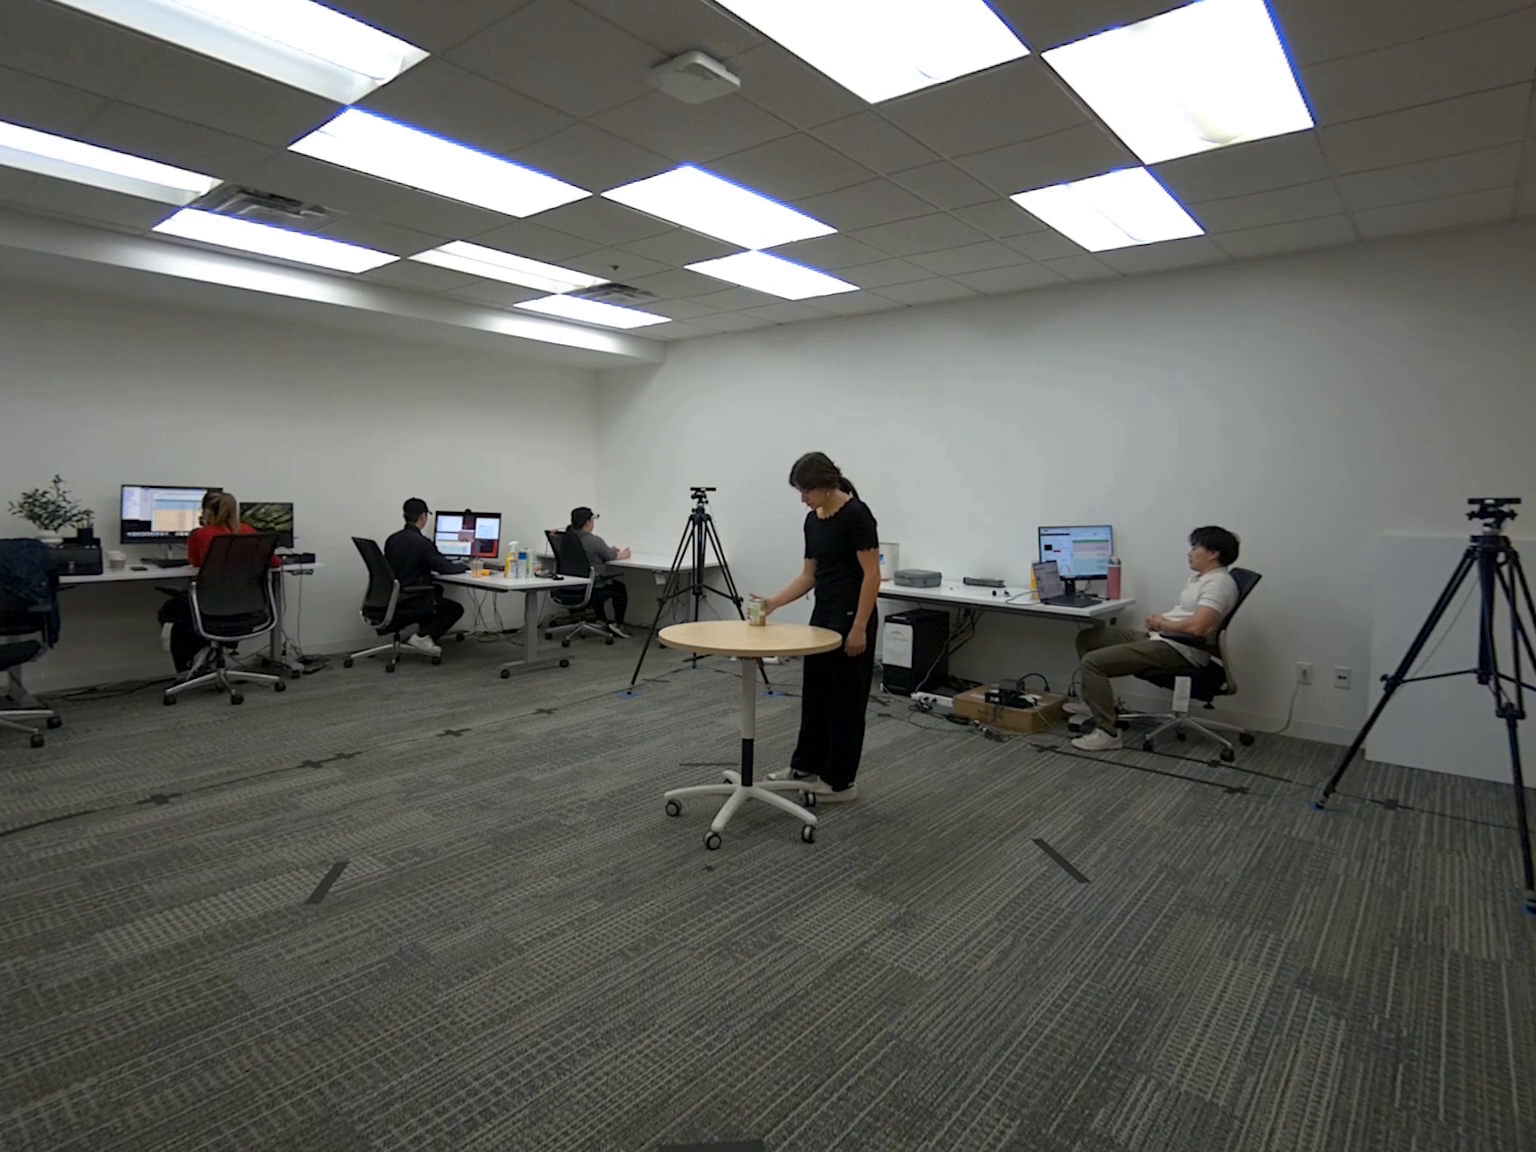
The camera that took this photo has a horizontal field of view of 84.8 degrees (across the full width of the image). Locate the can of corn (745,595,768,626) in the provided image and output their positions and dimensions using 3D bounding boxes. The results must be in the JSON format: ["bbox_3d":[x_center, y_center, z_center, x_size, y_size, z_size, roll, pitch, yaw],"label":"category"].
[{"bbox_3d":[-0.057,0.161,3.841,0.074,0.110,0.074,0,4,-2],"label":"can of corn"}]
